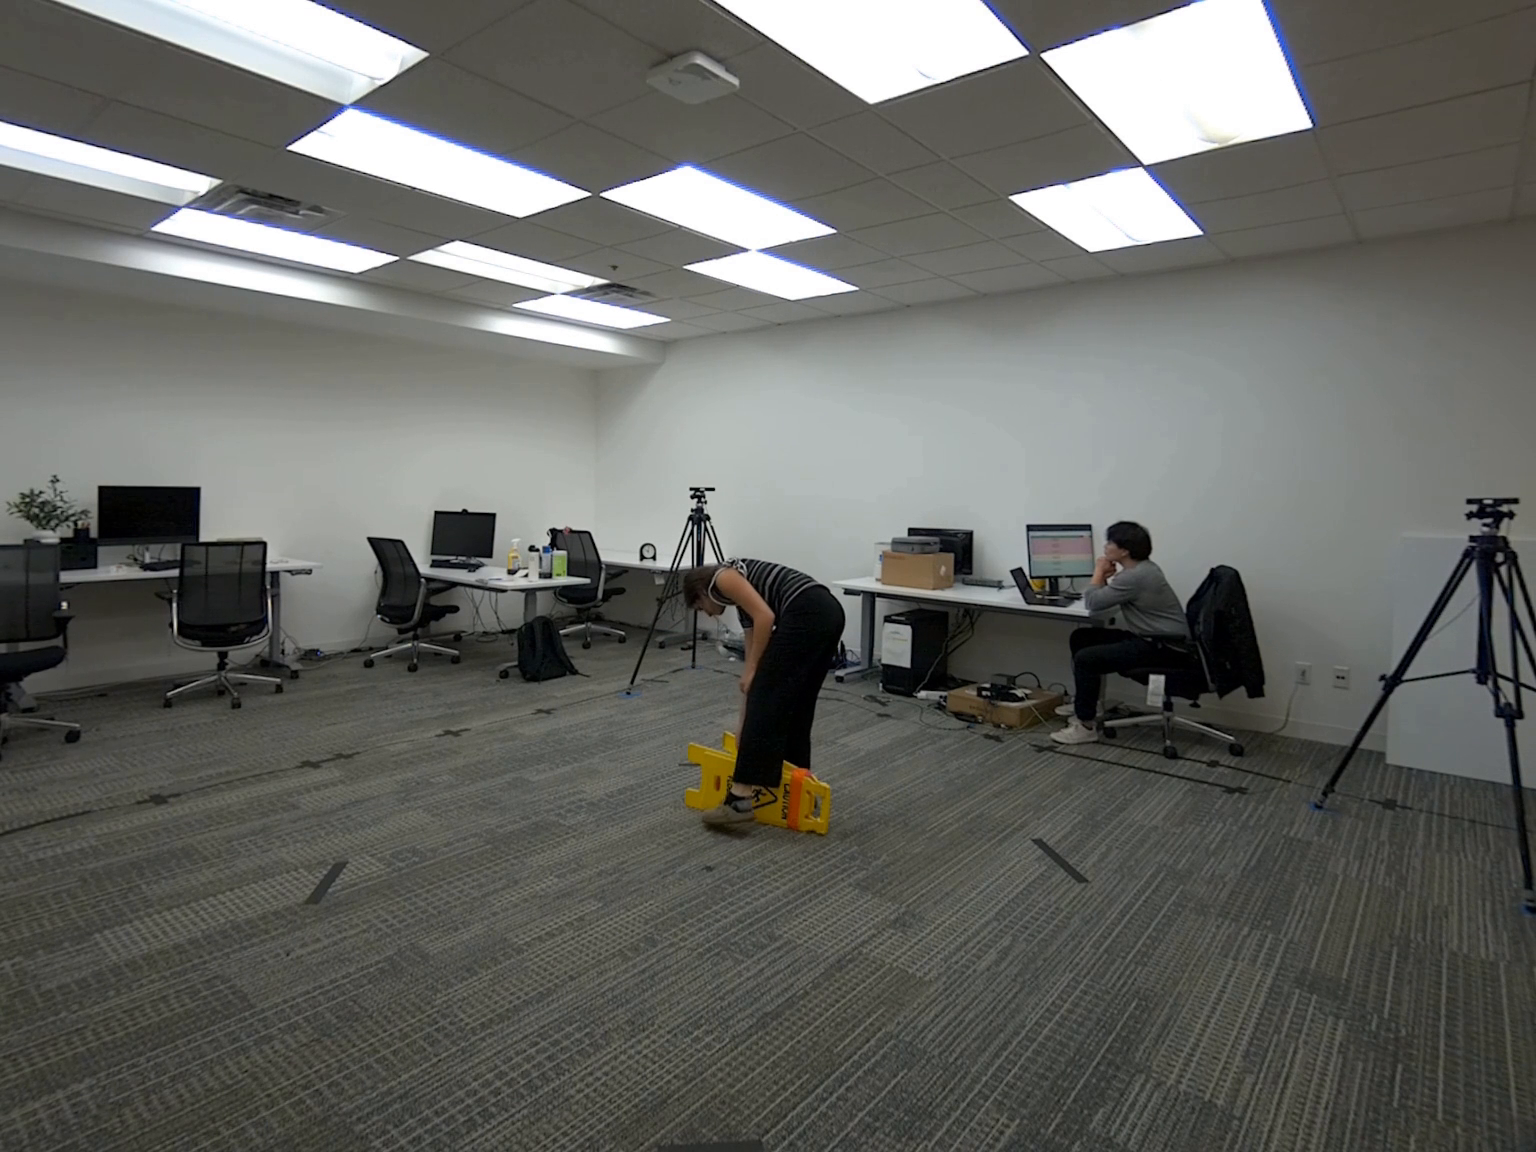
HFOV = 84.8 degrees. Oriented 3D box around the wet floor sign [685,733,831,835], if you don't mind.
[{"bbox_3d":[-0.029,0.895,3.624,0.668,0.281,0.281,8,7,36],"label":"wet floor sign"}]
